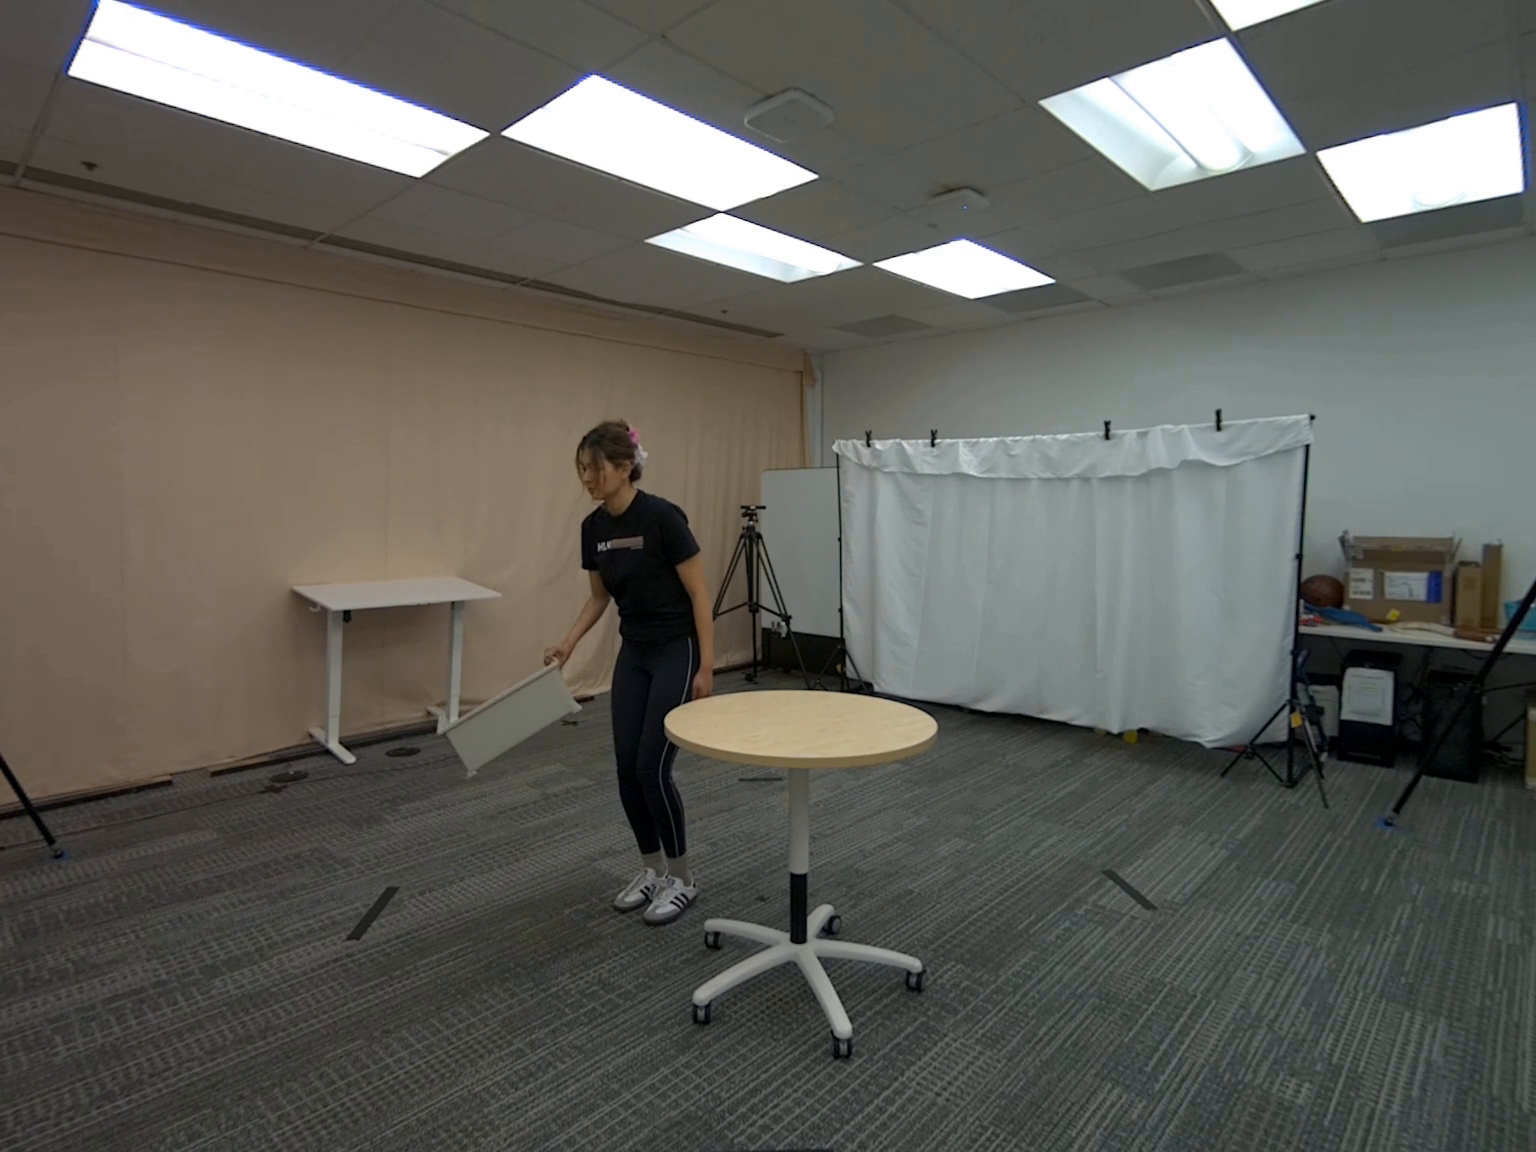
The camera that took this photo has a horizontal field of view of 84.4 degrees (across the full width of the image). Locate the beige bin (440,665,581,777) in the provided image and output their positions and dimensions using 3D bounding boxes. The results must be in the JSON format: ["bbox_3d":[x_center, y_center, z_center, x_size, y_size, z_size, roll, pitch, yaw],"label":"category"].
[{"bbox_3d":[-0.882,0.462,2.837,0.418,0.187,0.385,-30,13,-17],"label":"beige bin"}]
